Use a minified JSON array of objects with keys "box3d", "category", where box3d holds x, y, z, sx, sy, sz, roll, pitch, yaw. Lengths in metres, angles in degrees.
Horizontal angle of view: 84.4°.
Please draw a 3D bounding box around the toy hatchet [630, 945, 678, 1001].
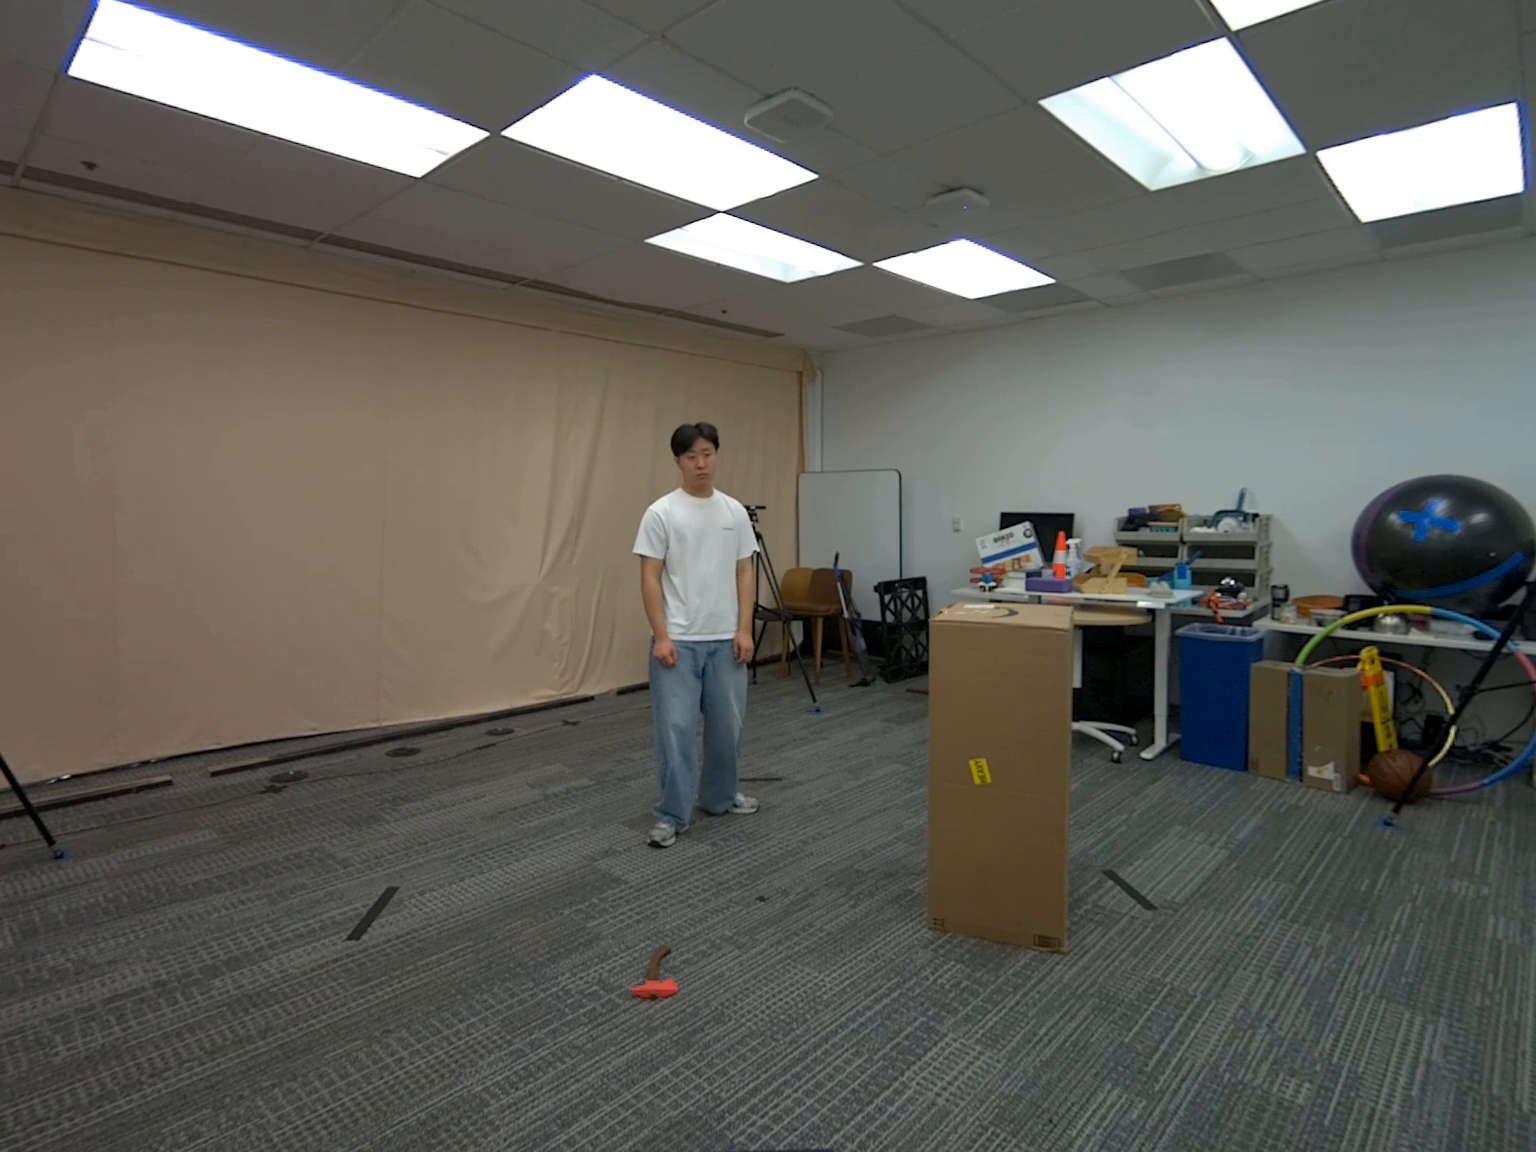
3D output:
[{"box3d":[-0.304,1.169,2.504,0.133,0.029,0.266,1,4,13],"category":"toy hatchet"}]
